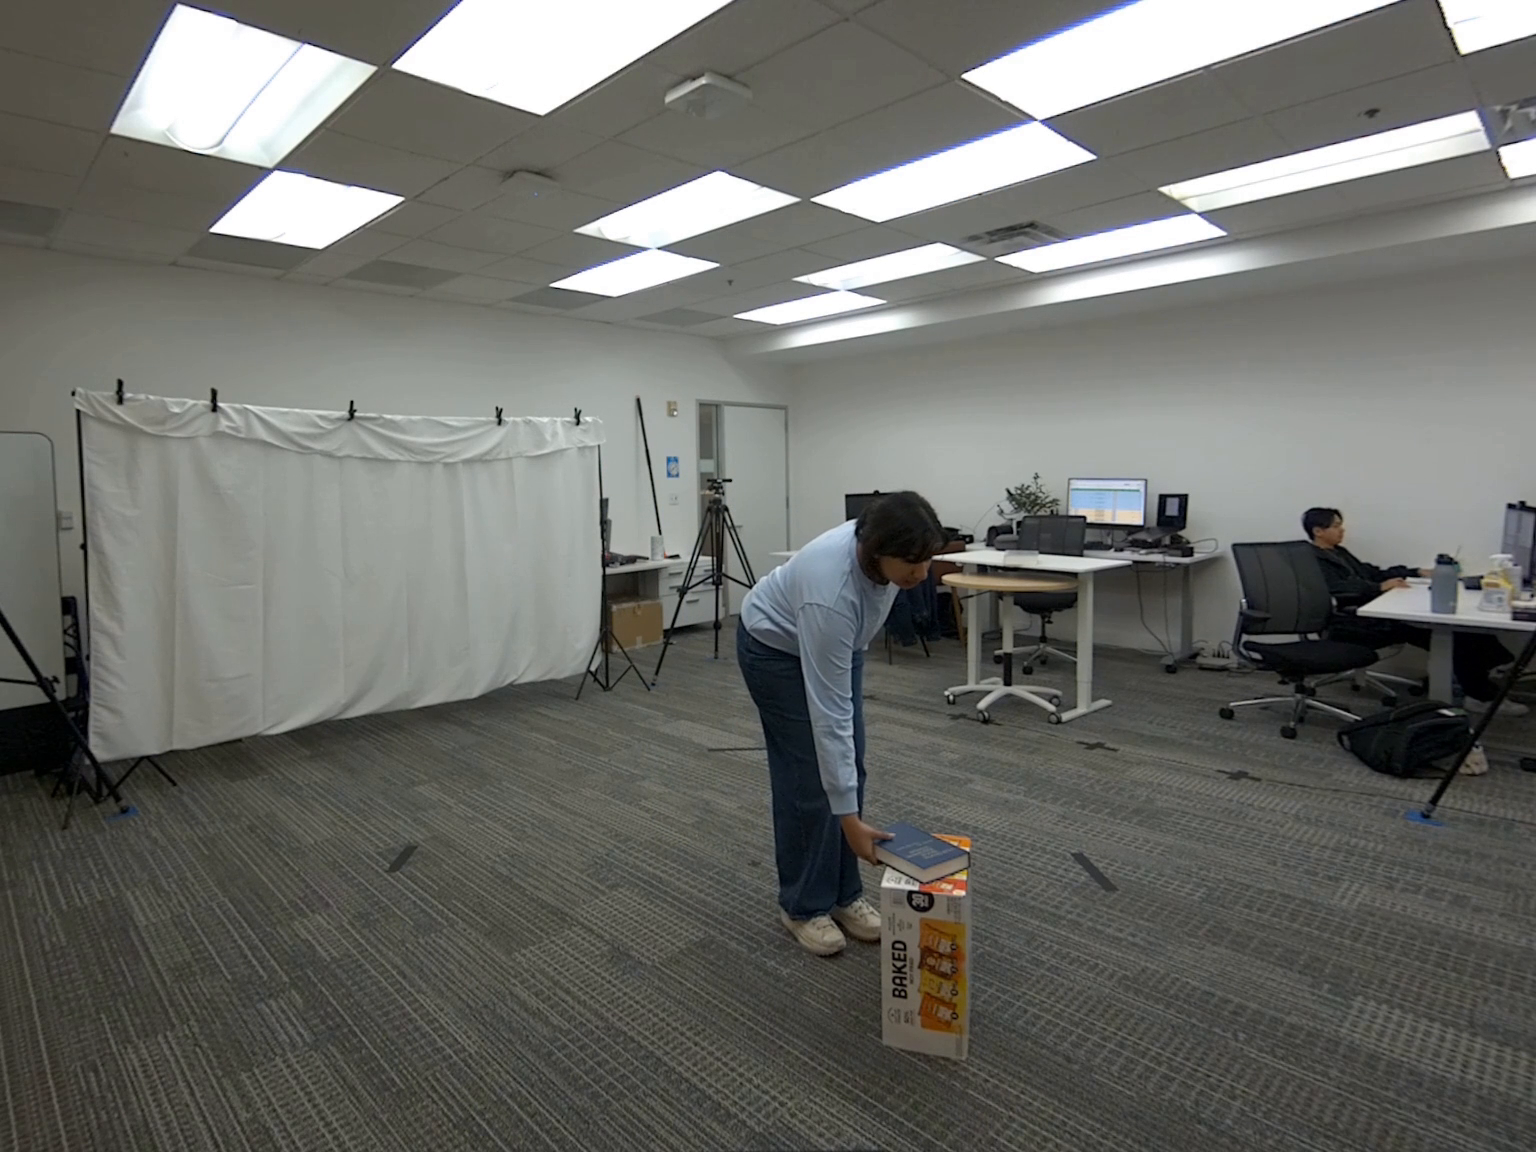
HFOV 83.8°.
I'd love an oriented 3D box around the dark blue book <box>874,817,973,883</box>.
[{"bbox_3d":[0.379,0.708,2.232,0.159,0.045,0.252,-7,7,-33],"label":"dark blue book"}]
